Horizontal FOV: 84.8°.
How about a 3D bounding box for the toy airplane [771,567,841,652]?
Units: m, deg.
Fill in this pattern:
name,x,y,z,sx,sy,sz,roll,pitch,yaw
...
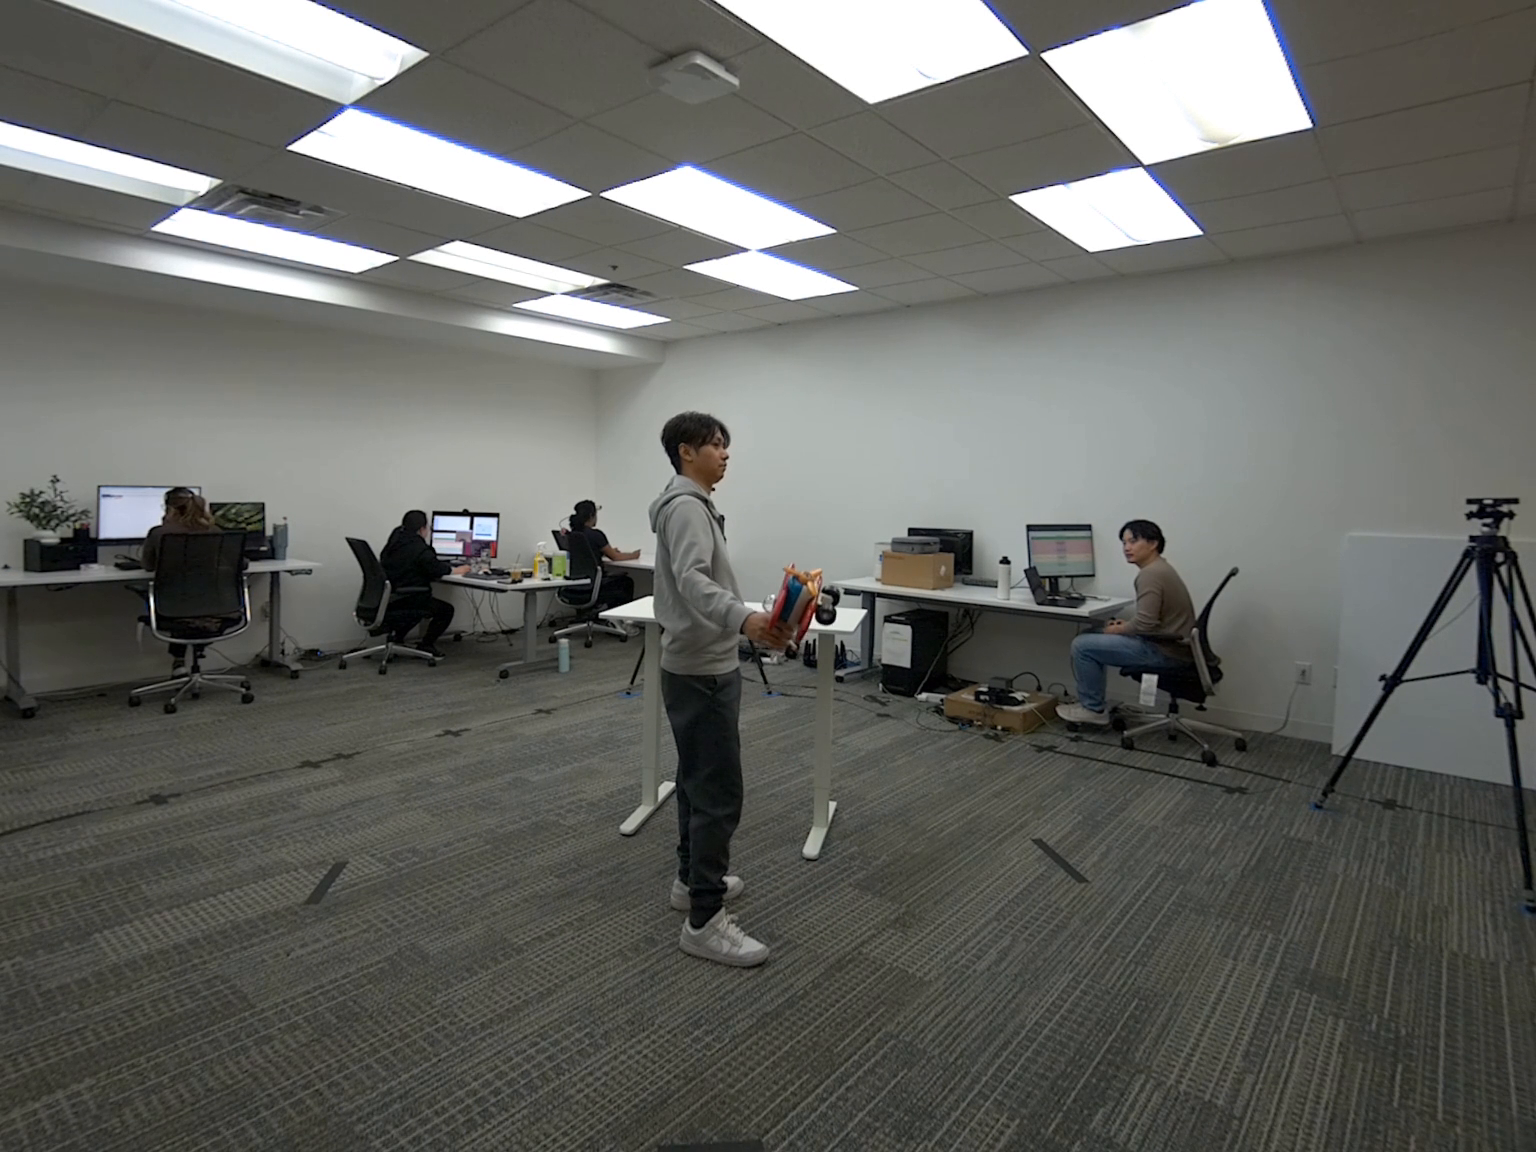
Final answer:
name,x,y,z,sx,sy,sz,roll,pitch,yaw
toy airplane,0.063,0.106,2.214,0.154,0.259,0.254,36,2,-11
